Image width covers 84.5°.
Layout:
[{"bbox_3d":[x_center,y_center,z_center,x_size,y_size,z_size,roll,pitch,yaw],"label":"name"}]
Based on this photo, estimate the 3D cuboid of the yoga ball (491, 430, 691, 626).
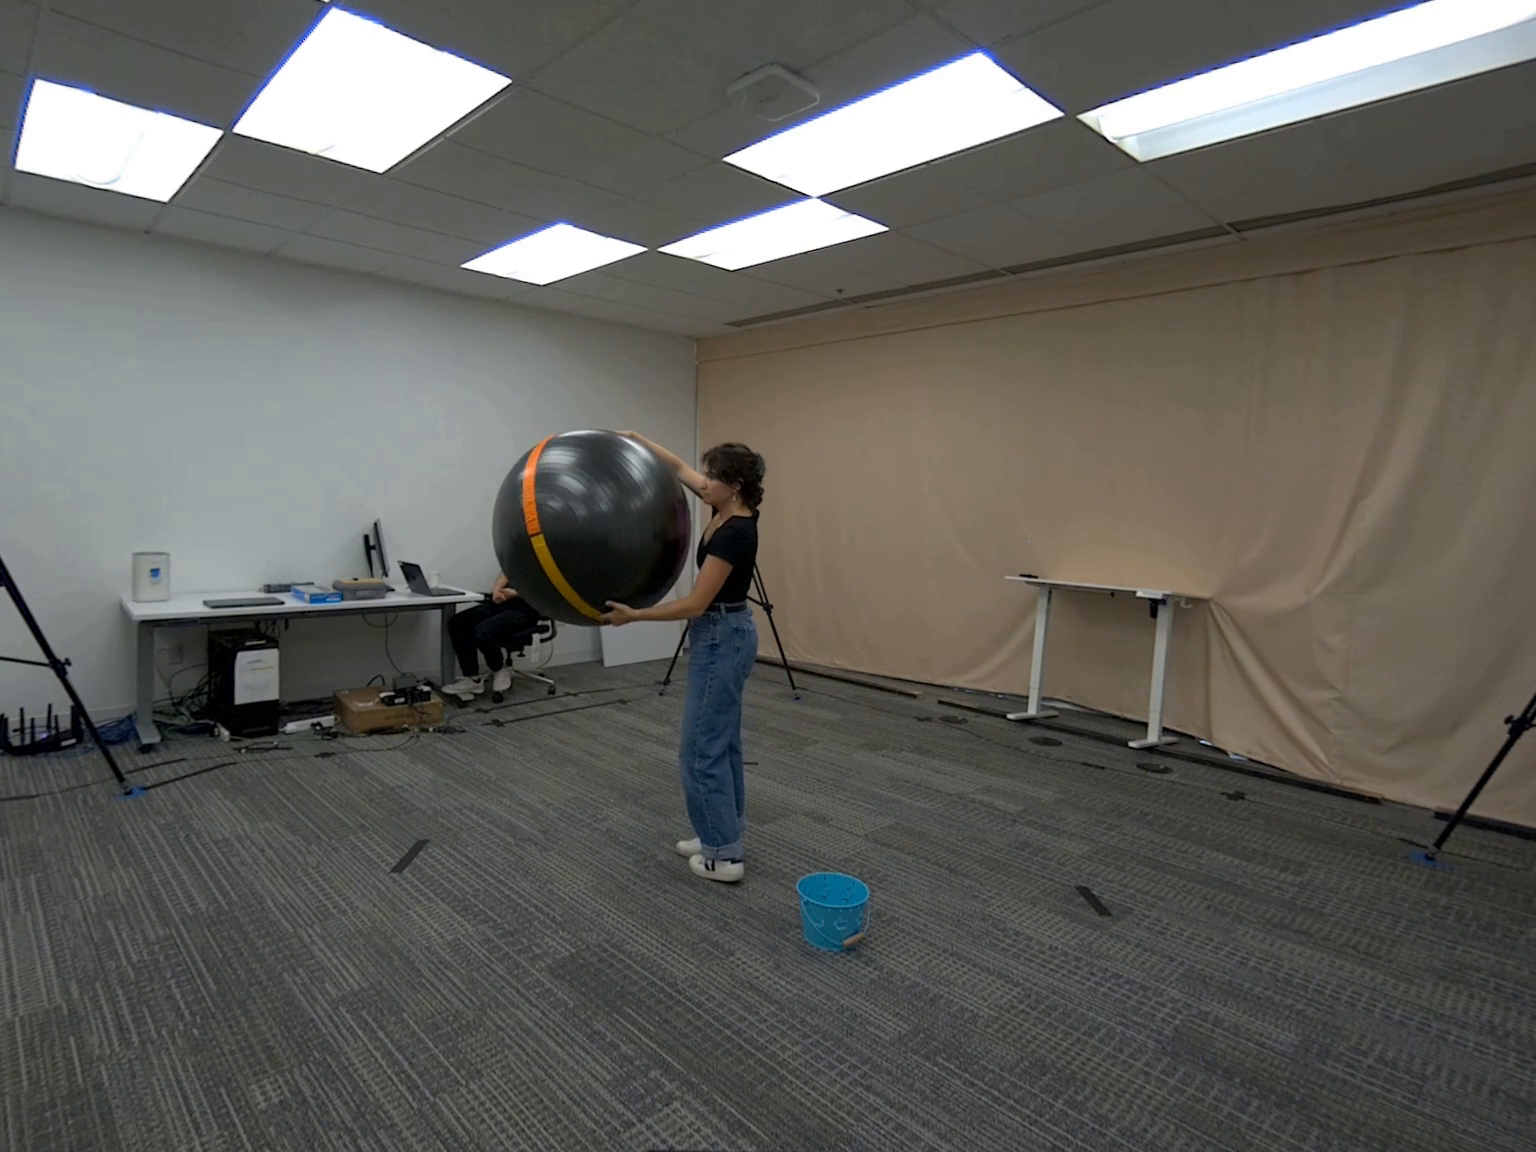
[{"bbox_3d":[-0.688,-0.180,3.249,0.757,0.756,0.761,1,4,-1],"label":"yoga ball"}]
